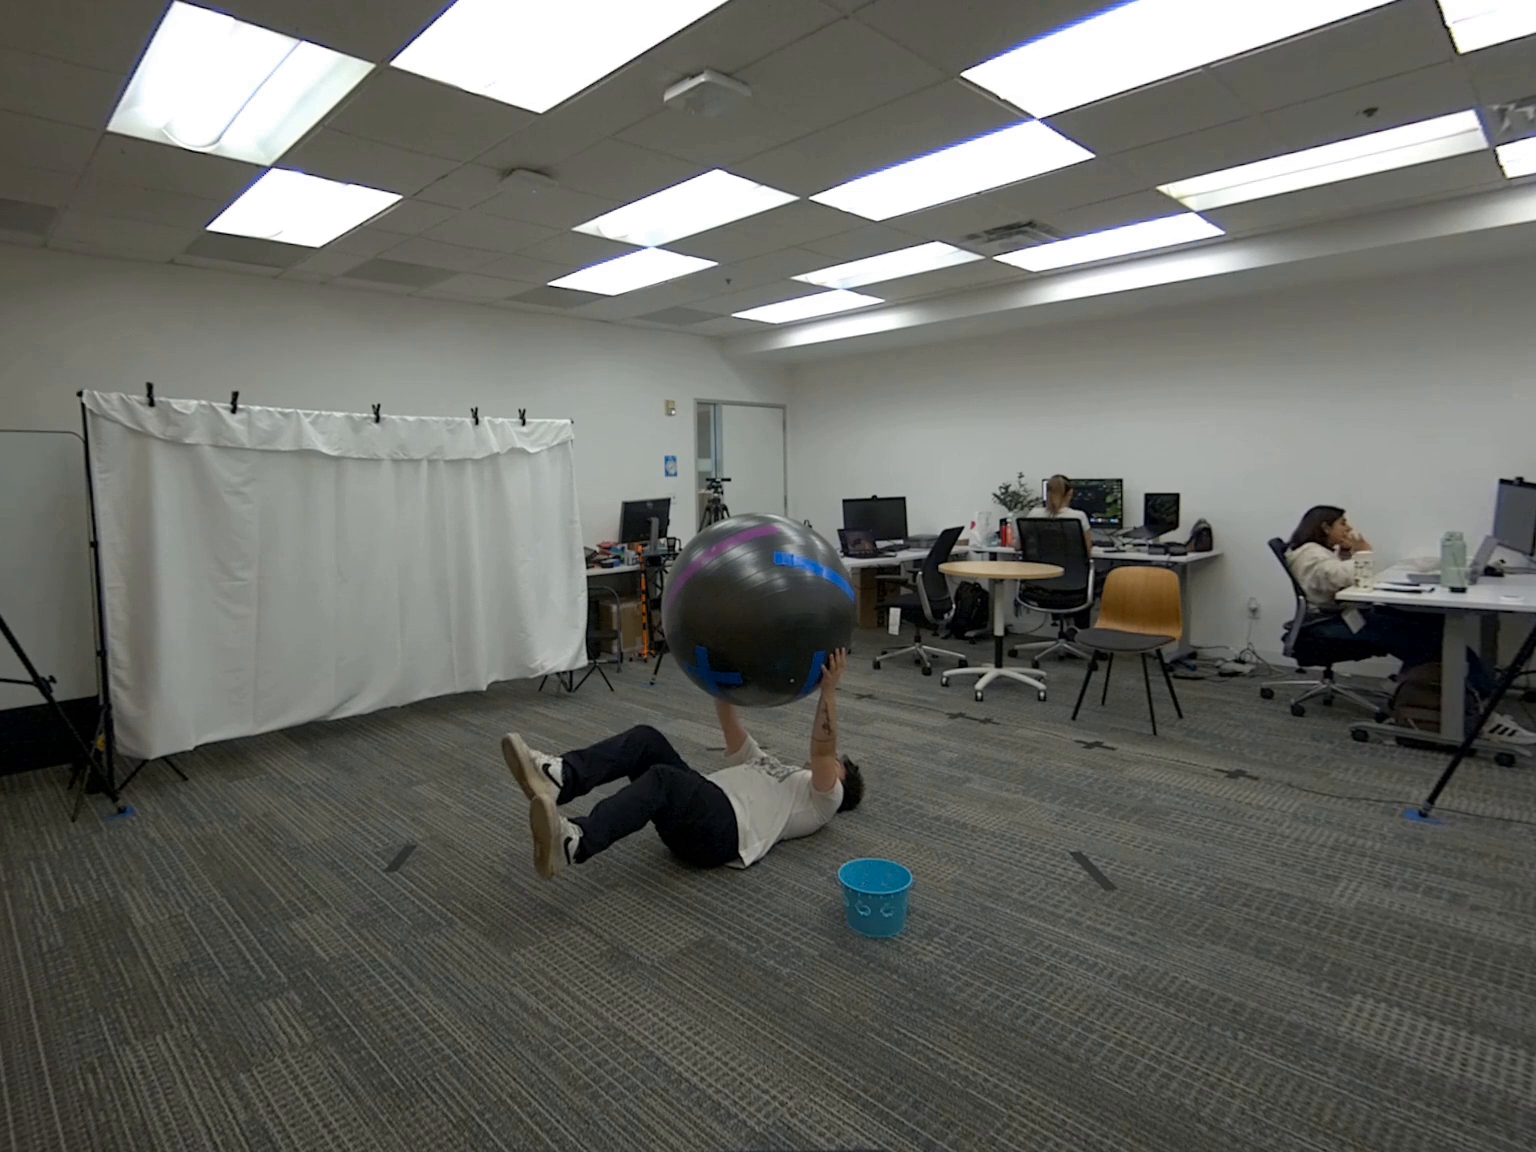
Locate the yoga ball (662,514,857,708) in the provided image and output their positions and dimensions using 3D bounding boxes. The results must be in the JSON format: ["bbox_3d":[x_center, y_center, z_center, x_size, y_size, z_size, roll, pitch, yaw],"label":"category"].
[{"bbox_3d":[-0.038,0.138,3.342,0.757,0.755,0.762,-1,5,-2],"label":"yoga ball"}]
